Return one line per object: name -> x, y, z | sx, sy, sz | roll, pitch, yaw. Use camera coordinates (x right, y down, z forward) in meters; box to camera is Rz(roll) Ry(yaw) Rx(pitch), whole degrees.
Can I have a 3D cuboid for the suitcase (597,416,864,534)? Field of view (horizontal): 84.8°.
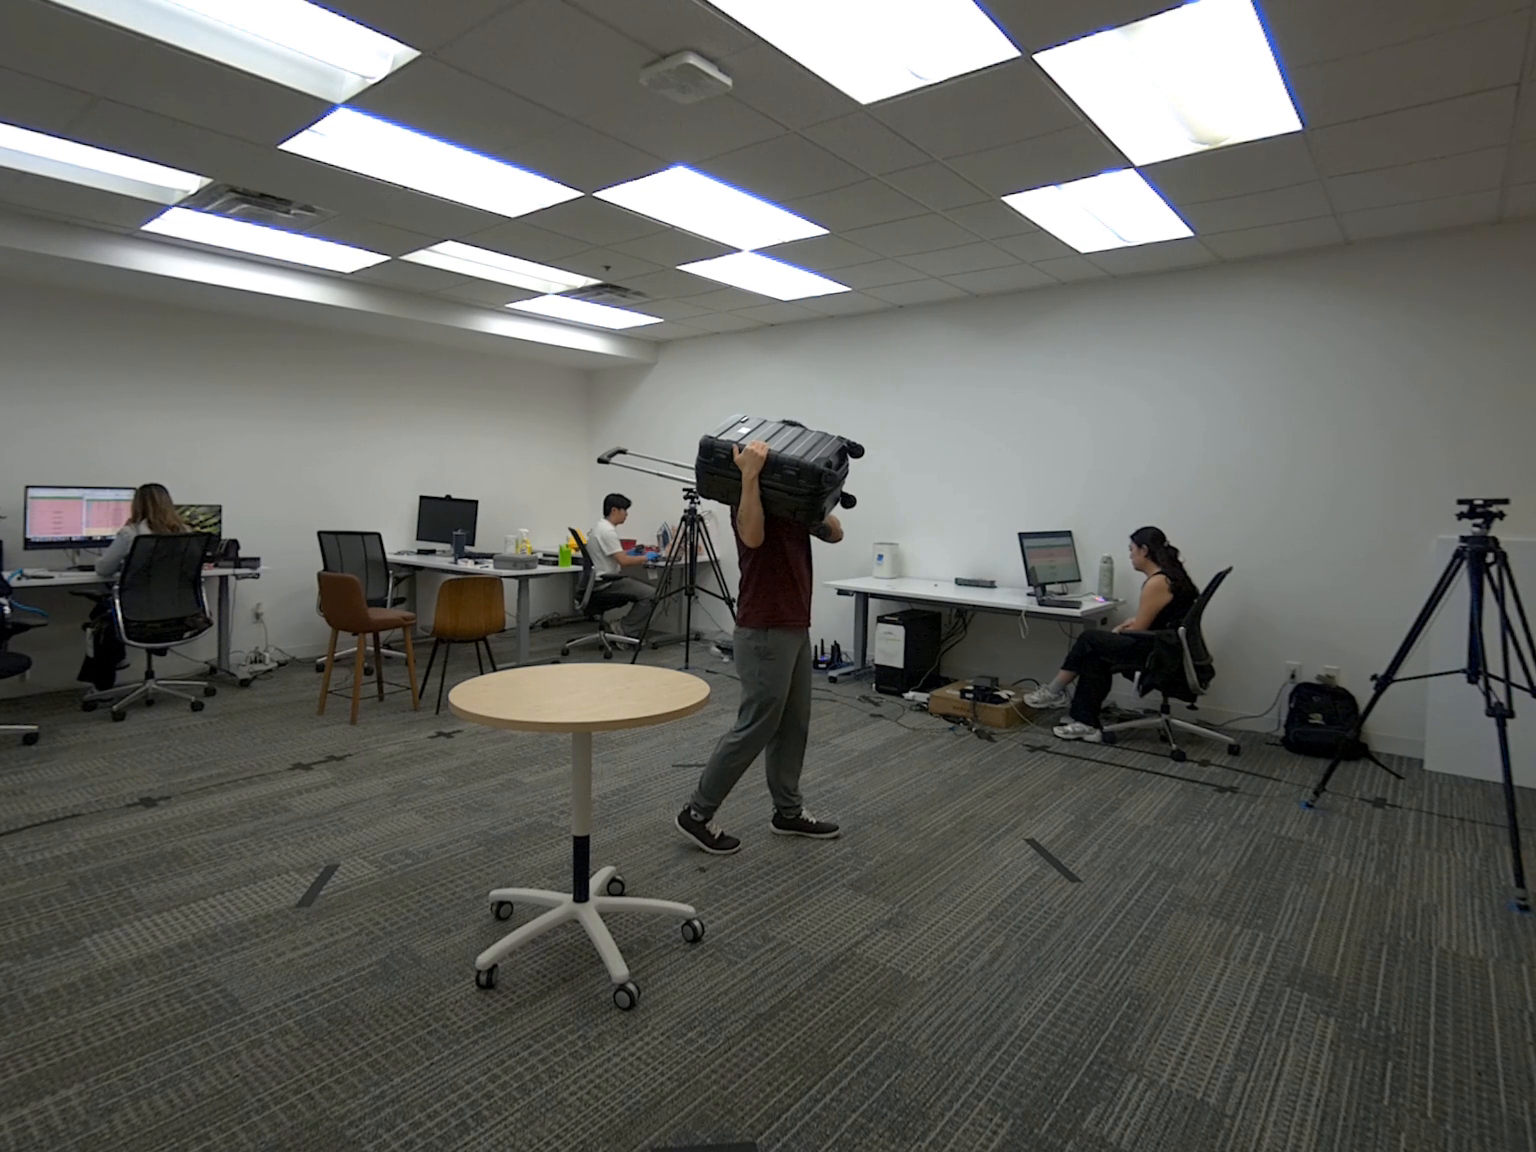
suitcase -> -0.168, -0.452, 3.150 | 1.003, 0.251, 0.383 | 18, 32, 19
